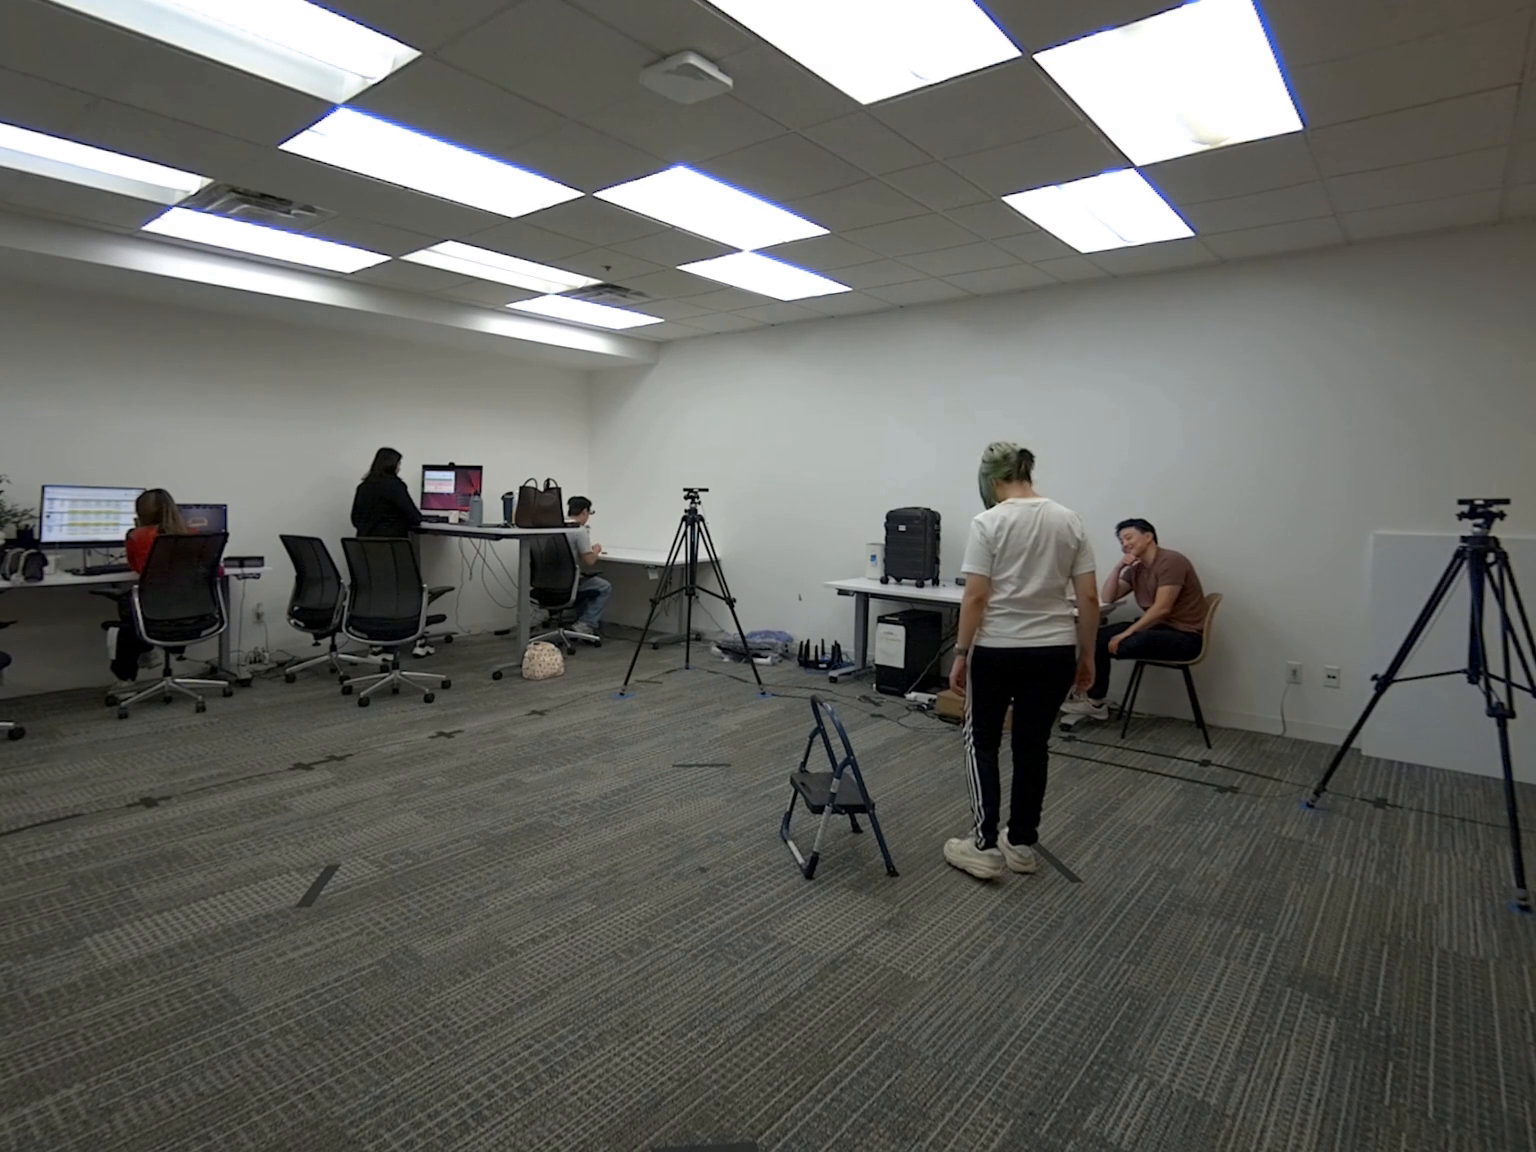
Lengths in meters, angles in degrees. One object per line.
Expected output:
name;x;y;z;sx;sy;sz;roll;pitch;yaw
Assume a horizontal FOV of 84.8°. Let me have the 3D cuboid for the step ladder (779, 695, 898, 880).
step ladder;0.257;0.764;3.258;0.345;0.604;0.437;1;4;-11
